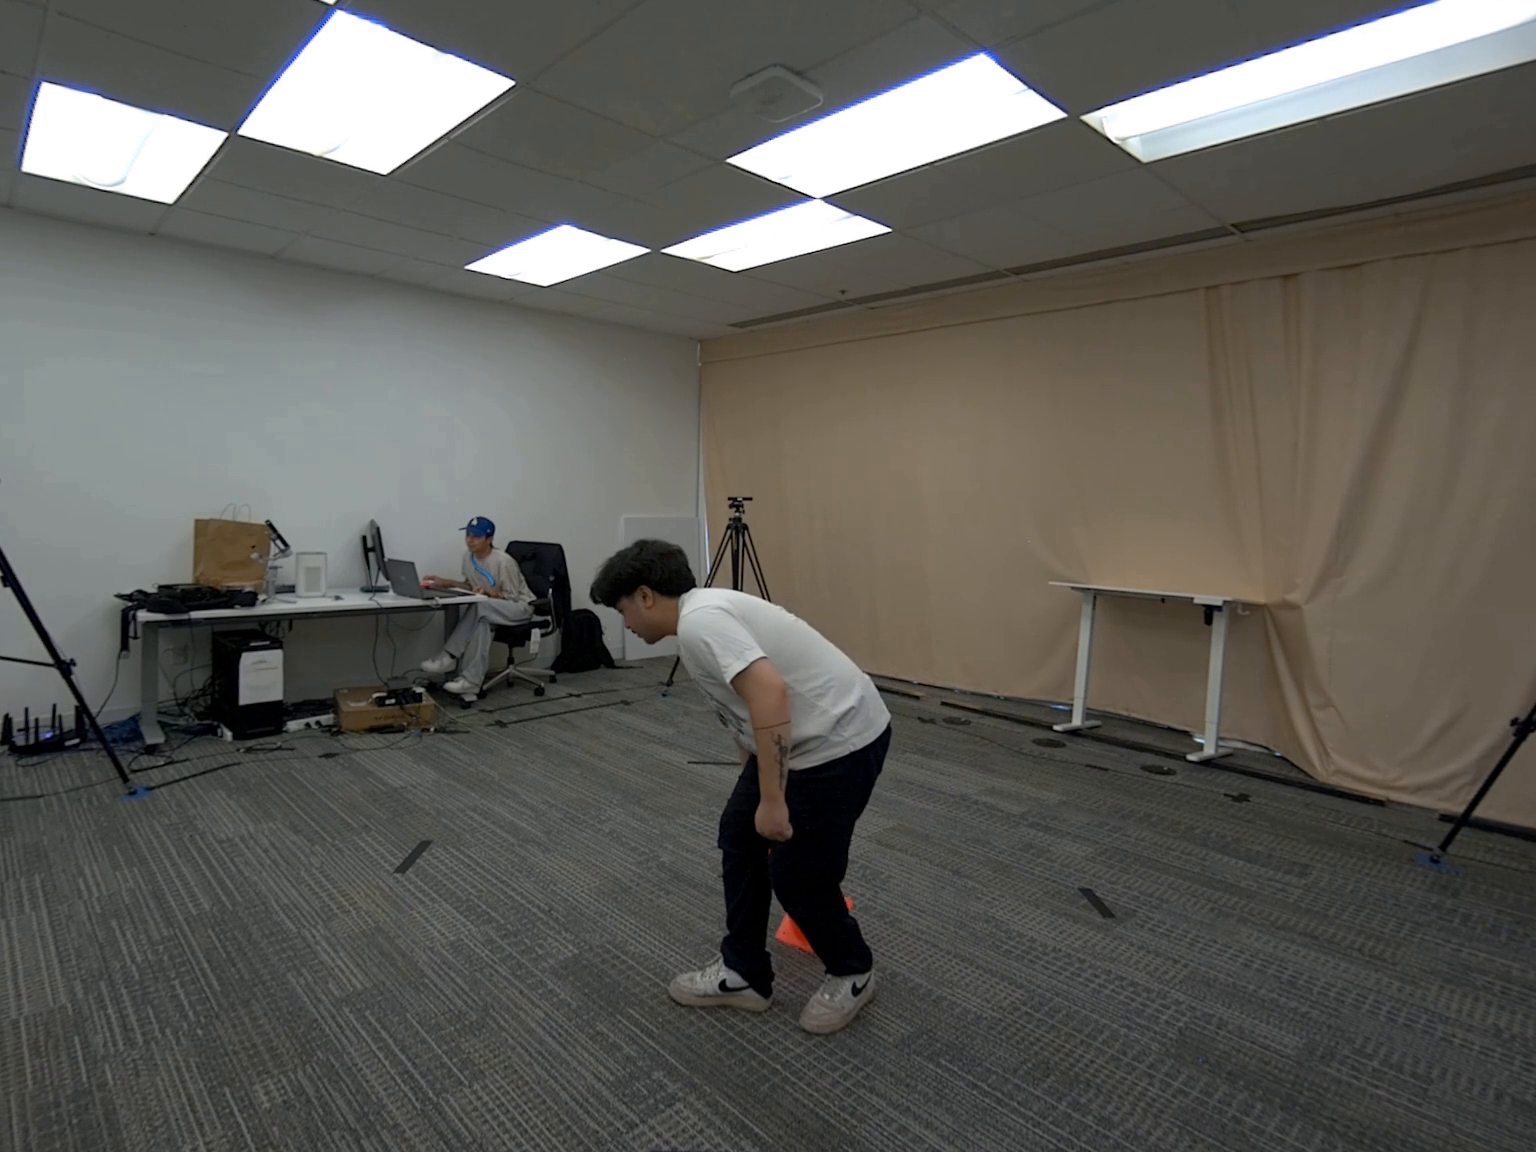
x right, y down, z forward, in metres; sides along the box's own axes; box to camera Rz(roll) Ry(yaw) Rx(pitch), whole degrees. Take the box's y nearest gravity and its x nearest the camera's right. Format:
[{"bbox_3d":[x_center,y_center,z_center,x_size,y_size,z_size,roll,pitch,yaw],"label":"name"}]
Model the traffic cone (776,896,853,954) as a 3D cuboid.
[{"bbox_3d":[0.077,0.963,2.566,0.209,0.373,0.204,1,40,33],"label":"traffic cone"}]
